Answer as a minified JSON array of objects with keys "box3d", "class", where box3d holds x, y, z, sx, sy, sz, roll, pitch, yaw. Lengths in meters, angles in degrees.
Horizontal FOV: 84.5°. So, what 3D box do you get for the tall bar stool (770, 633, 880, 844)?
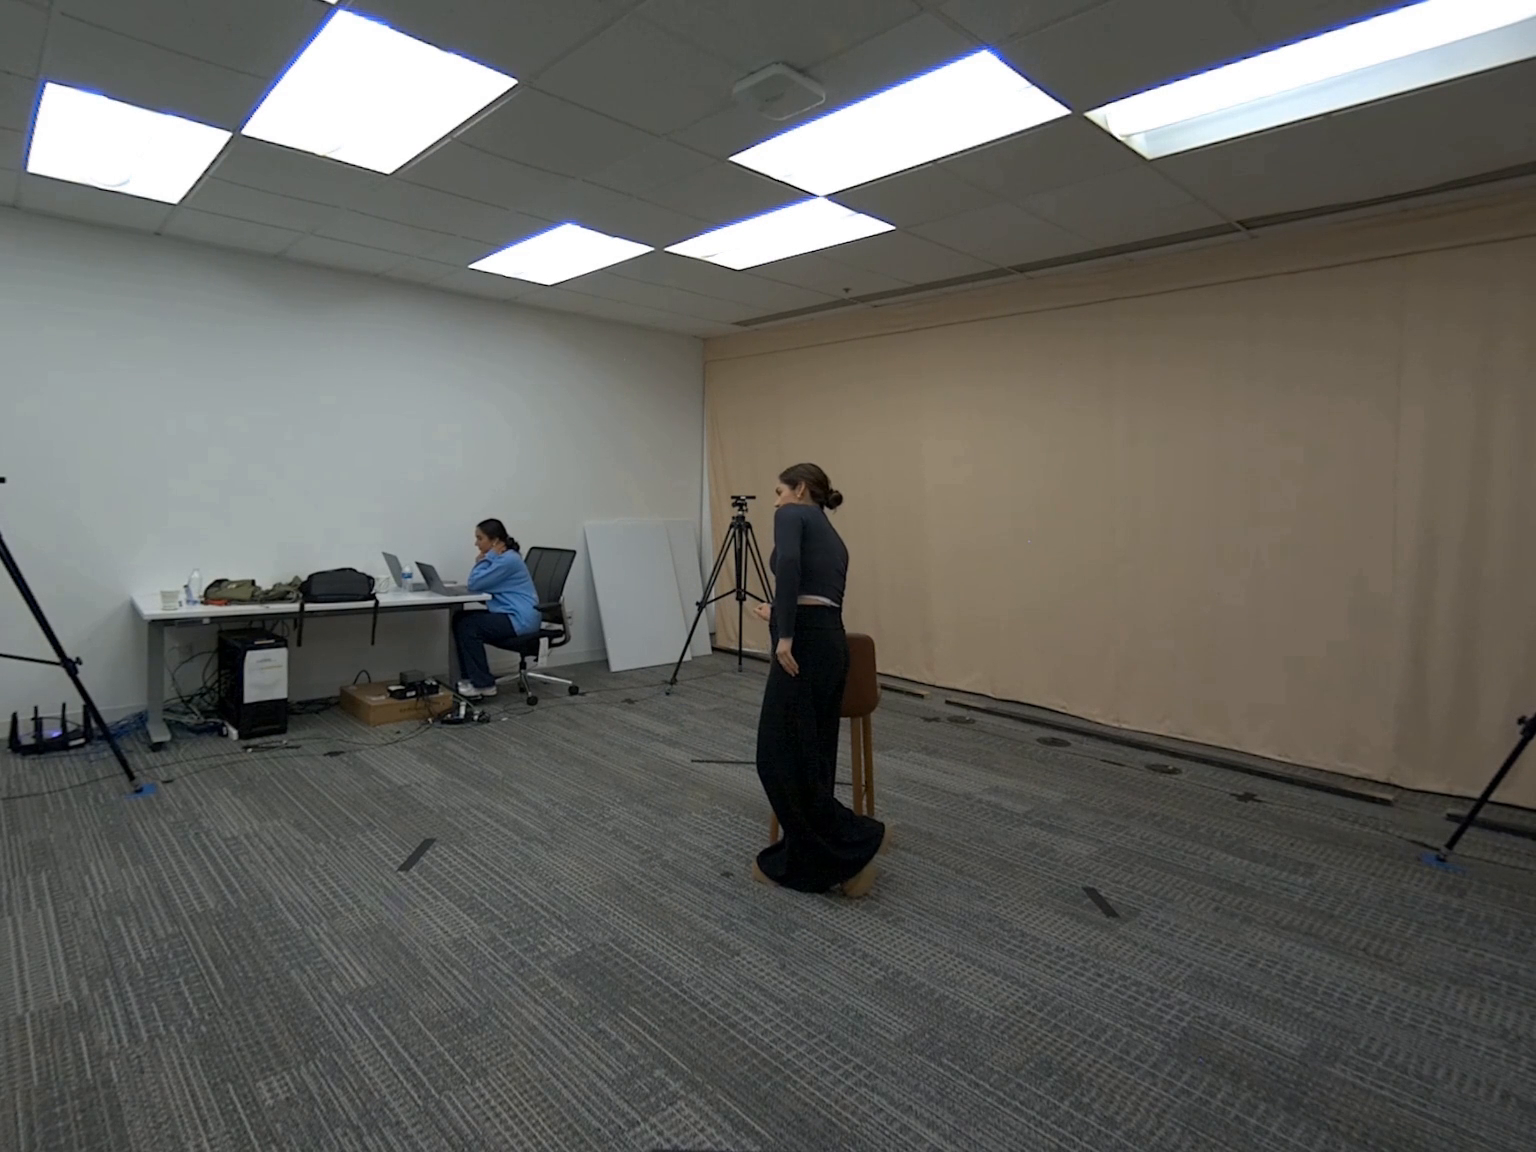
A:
[{"box3d":[0.237,0.639,3.540,0.462,0.887,0.464,2,5,13],"class":"tall bar stool"}]
